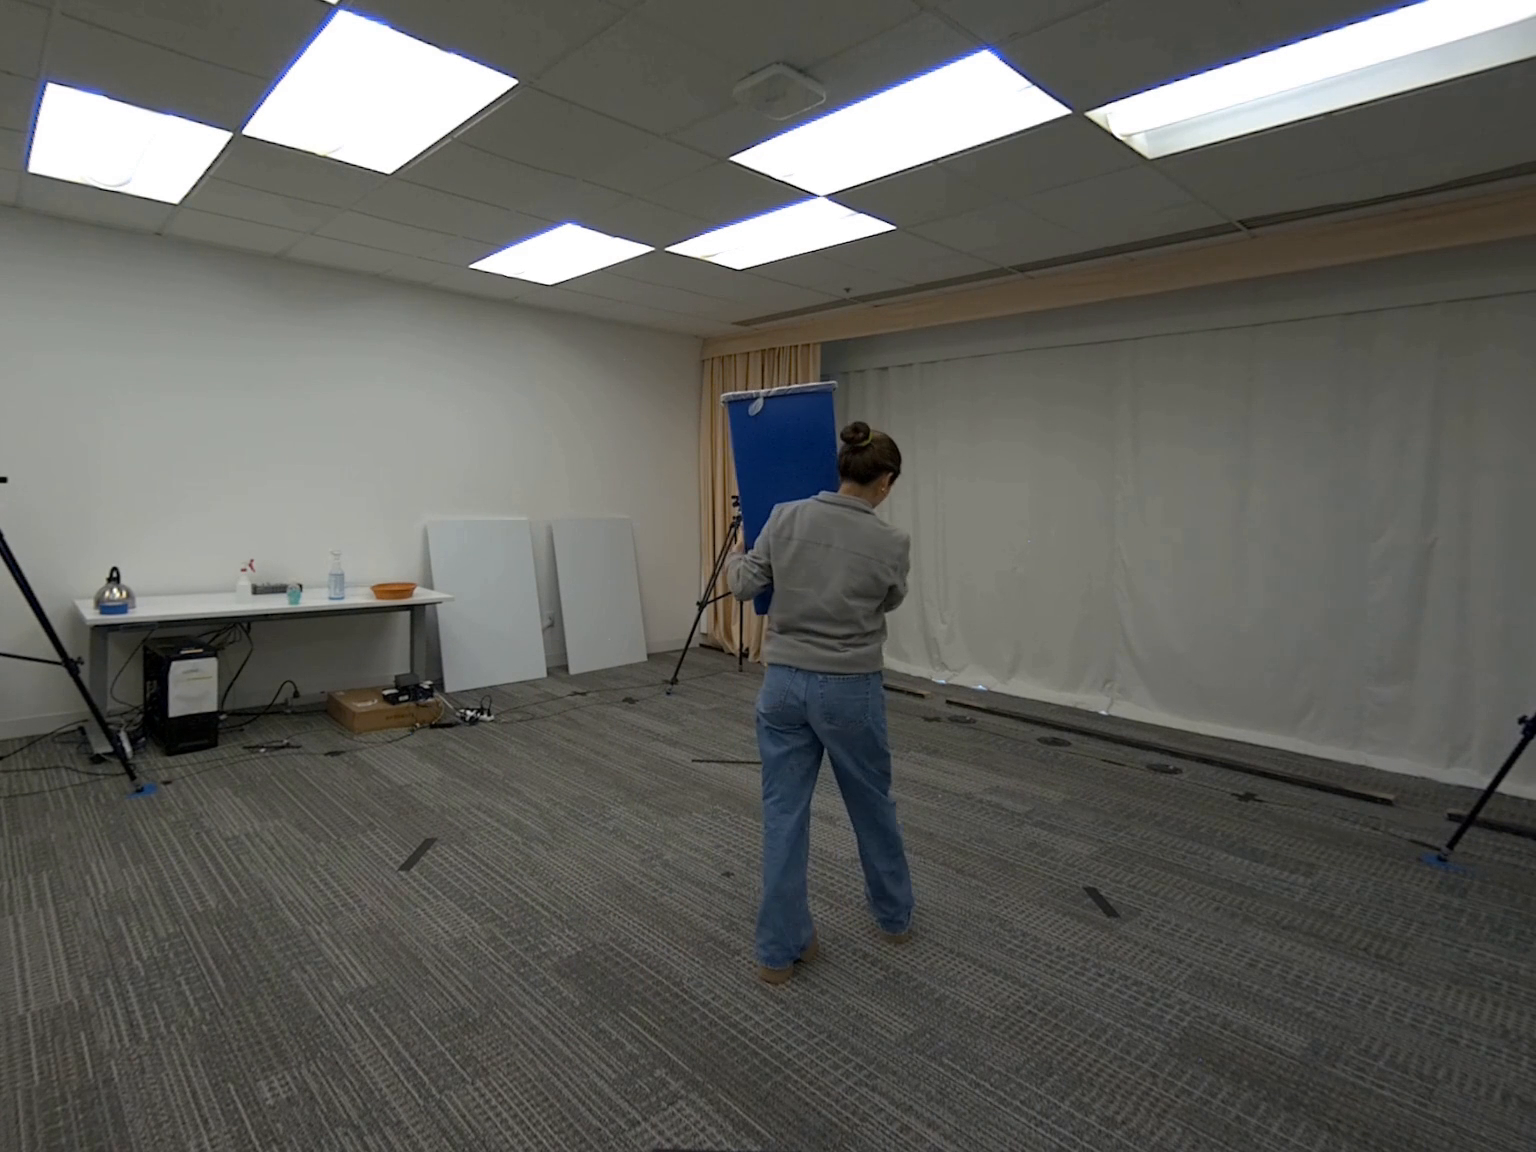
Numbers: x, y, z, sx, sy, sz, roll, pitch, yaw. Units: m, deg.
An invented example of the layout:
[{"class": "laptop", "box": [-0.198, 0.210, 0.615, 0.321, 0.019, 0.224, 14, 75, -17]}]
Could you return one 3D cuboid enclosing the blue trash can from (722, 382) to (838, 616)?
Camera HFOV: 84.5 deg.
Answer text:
[{"class": "blue trash can", "box": [0.061, -0.266, 2.828, 0.378, 0.710, 0.376, -6, 6, 0]}]
